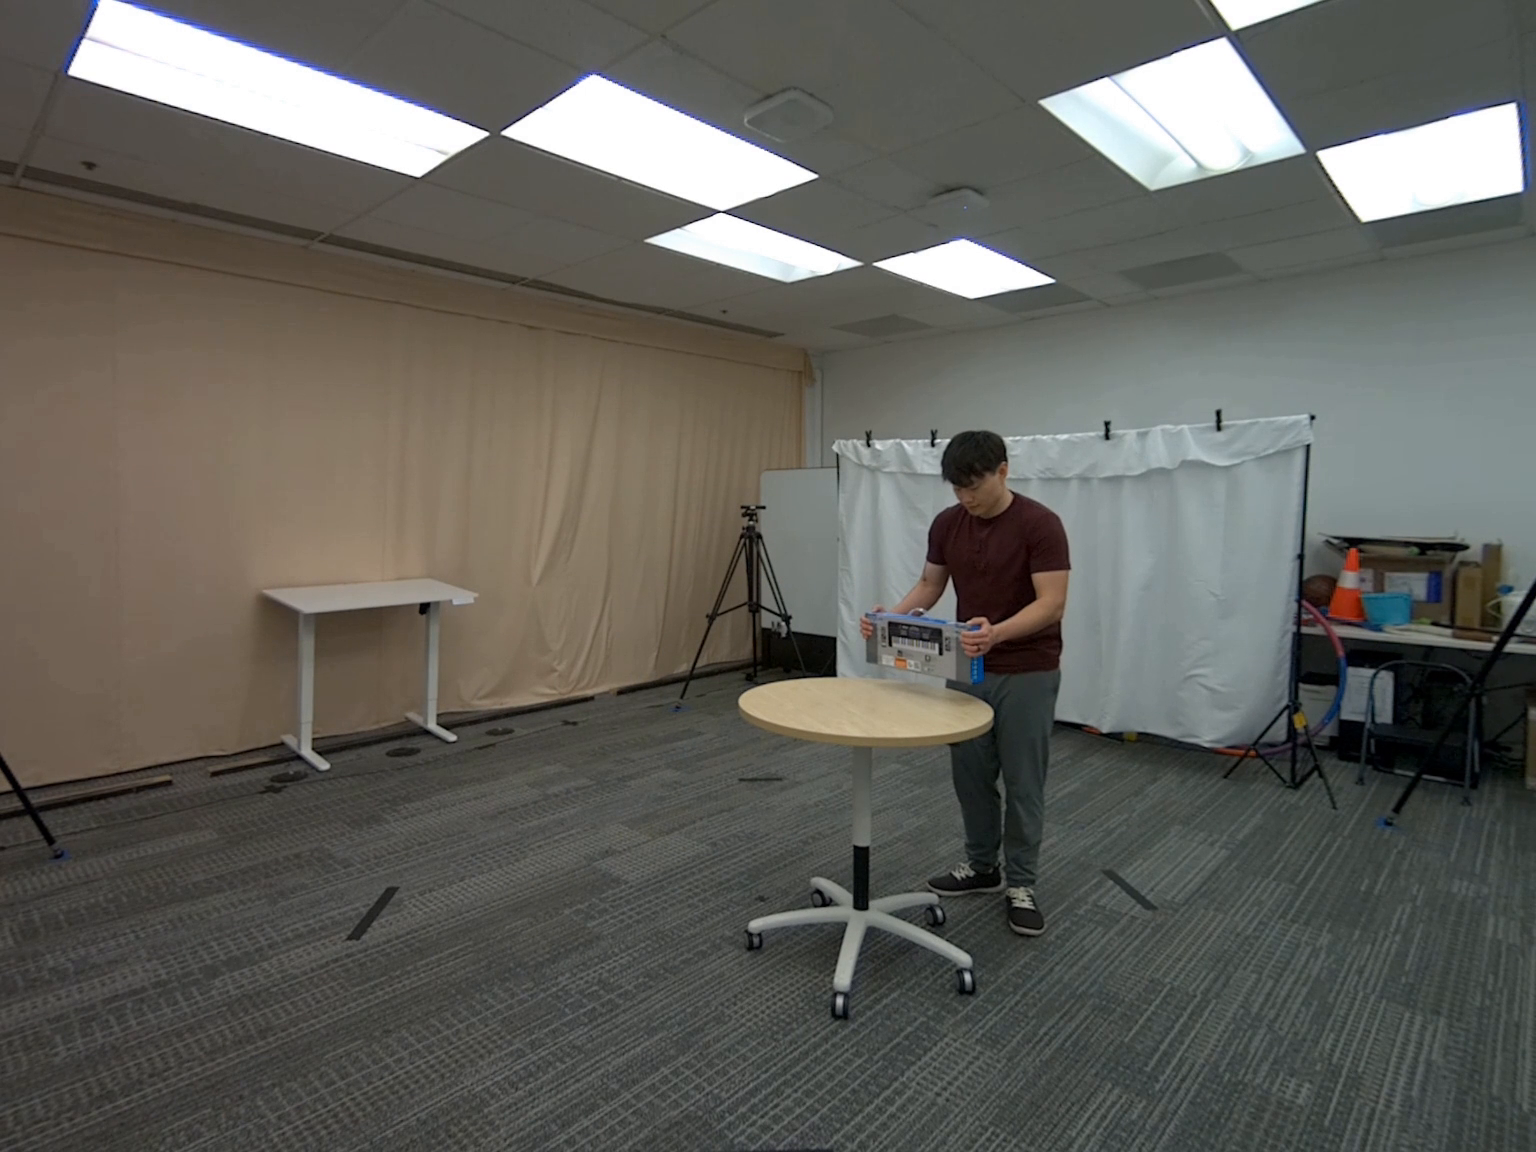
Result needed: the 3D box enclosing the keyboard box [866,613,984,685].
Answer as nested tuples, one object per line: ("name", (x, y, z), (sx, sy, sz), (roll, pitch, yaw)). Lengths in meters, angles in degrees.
("keyboard box", (0.499, 0.231, 2.706), (0.057, 0.175, 0.451), (-5, 6, -37))
